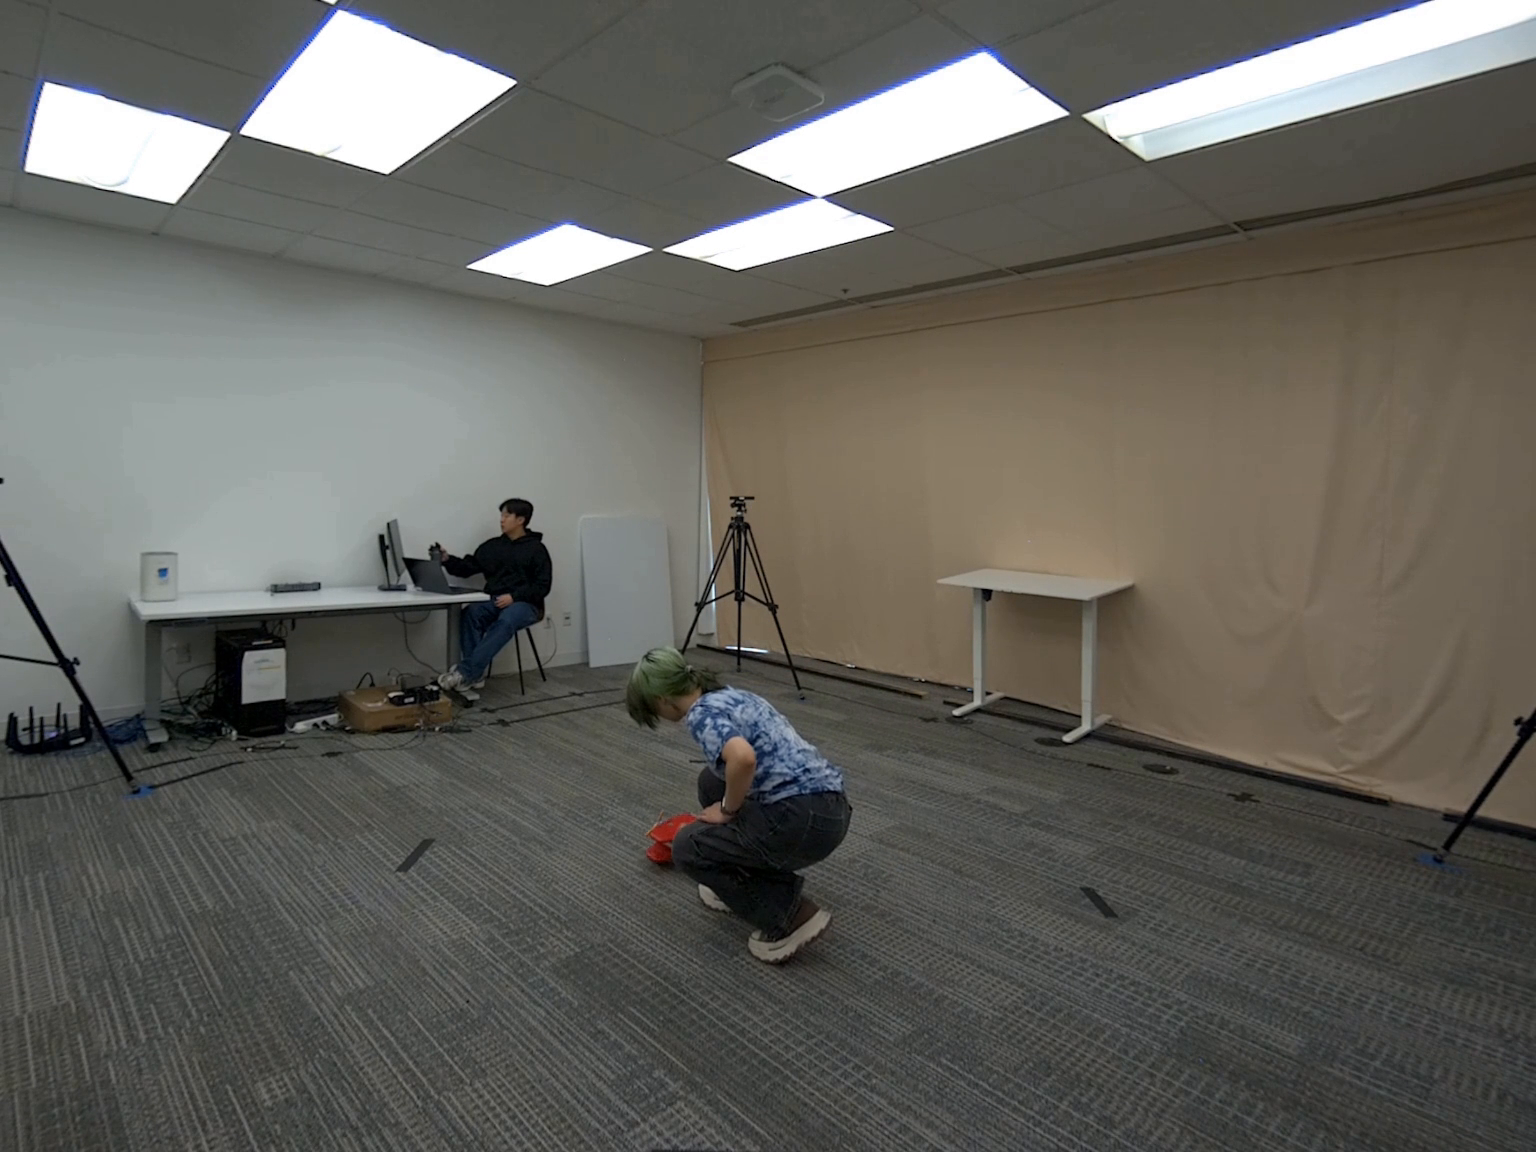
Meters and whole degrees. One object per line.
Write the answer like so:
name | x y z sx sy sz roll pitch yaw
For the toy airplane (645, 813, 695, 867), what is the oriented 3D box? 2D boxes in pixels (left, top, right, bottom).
toy airplane | -0.330 1.015 3.195 0.260 0.156 0.251 -1 5 2
